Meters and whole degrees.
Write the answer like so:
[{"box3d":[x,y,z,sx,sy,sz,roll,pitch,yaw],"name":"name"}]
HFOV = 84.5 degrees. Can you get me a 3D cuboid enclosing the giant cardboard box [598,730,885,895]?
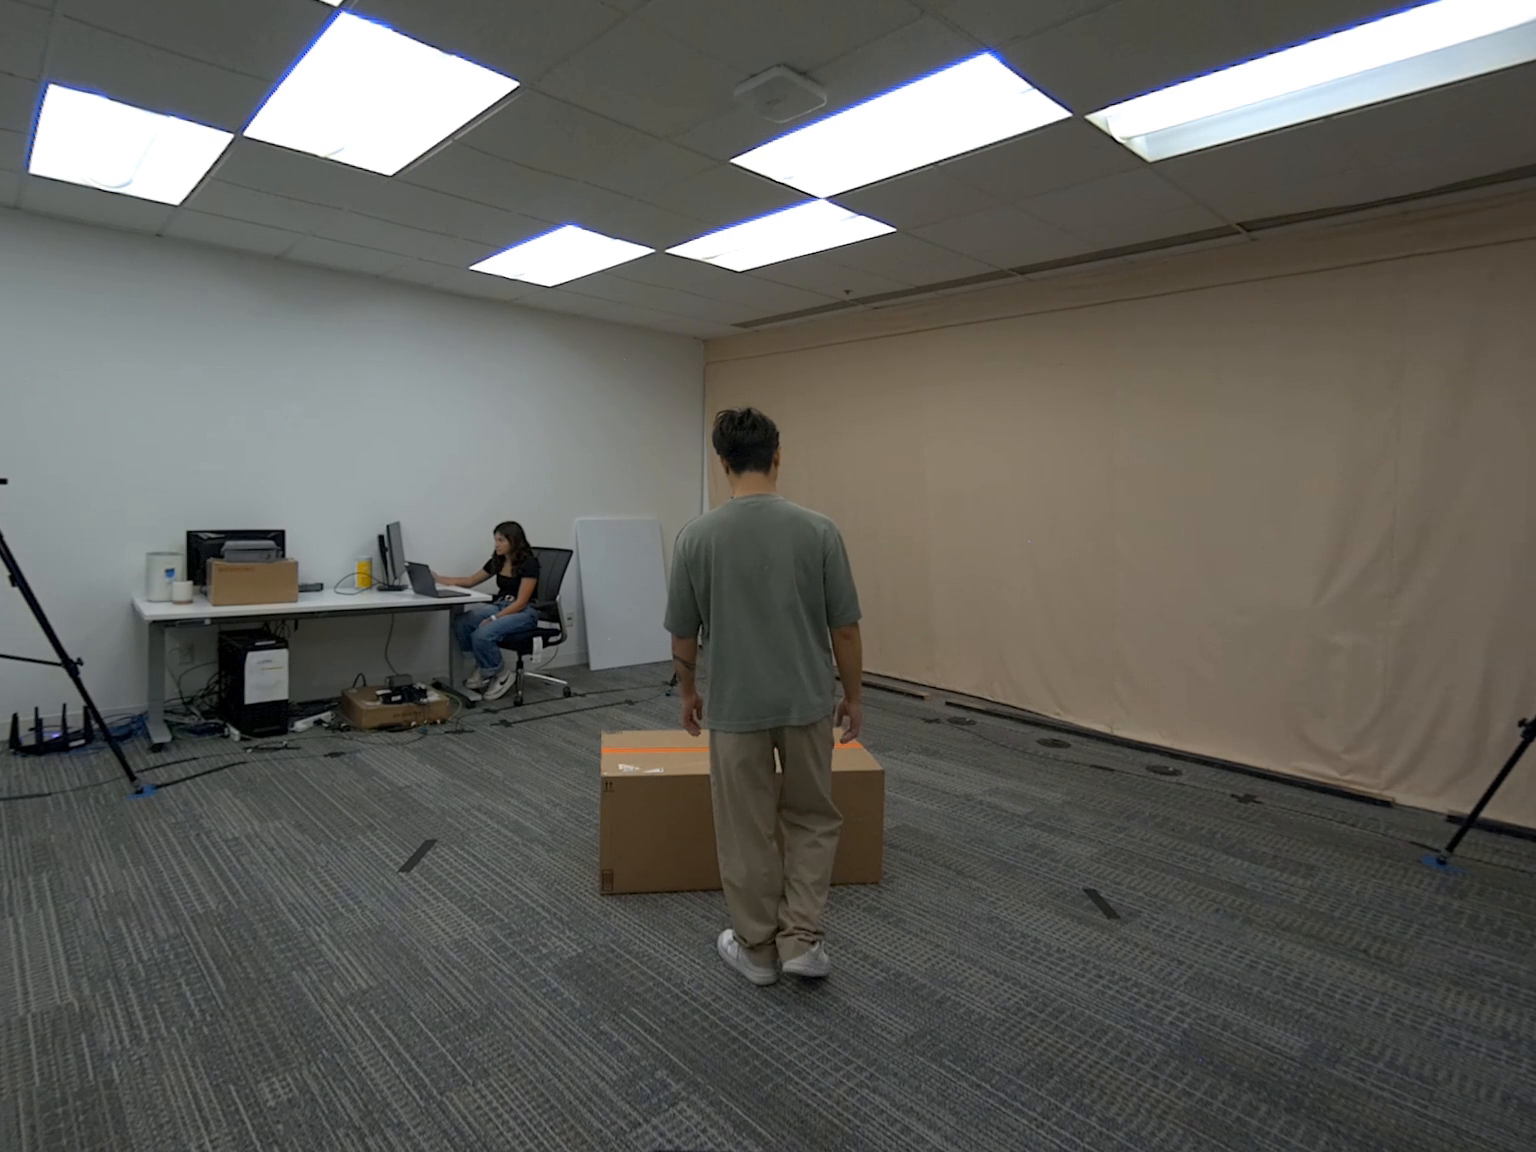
[{"box3d":[-0.142,0.874,3.270,1.018,0.425,0.583,1,5,-9],"name":"giant cardboard box"}]
